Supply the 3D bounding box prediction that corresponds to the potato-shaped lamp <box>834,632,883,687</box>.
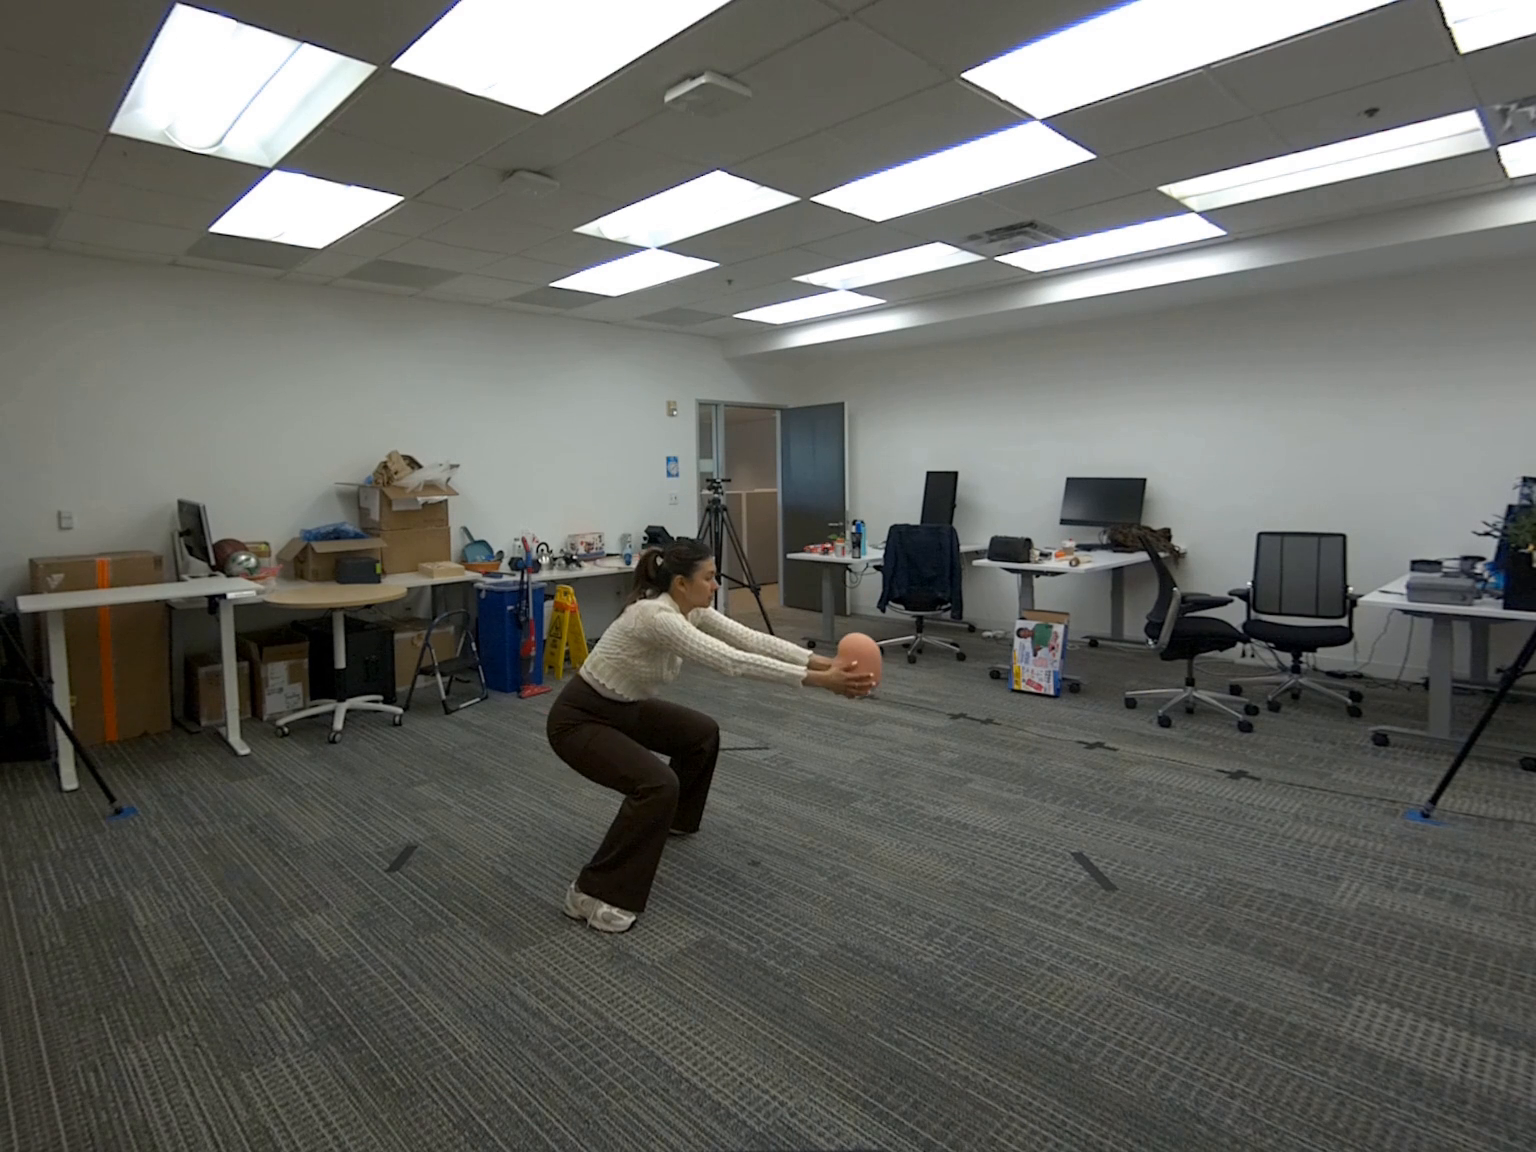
[{"bbox_3d":[0.289,0.279,2.840,0.174,0.198,0.162,-2,1,14],"label":"potato-shaped lamp"}]
